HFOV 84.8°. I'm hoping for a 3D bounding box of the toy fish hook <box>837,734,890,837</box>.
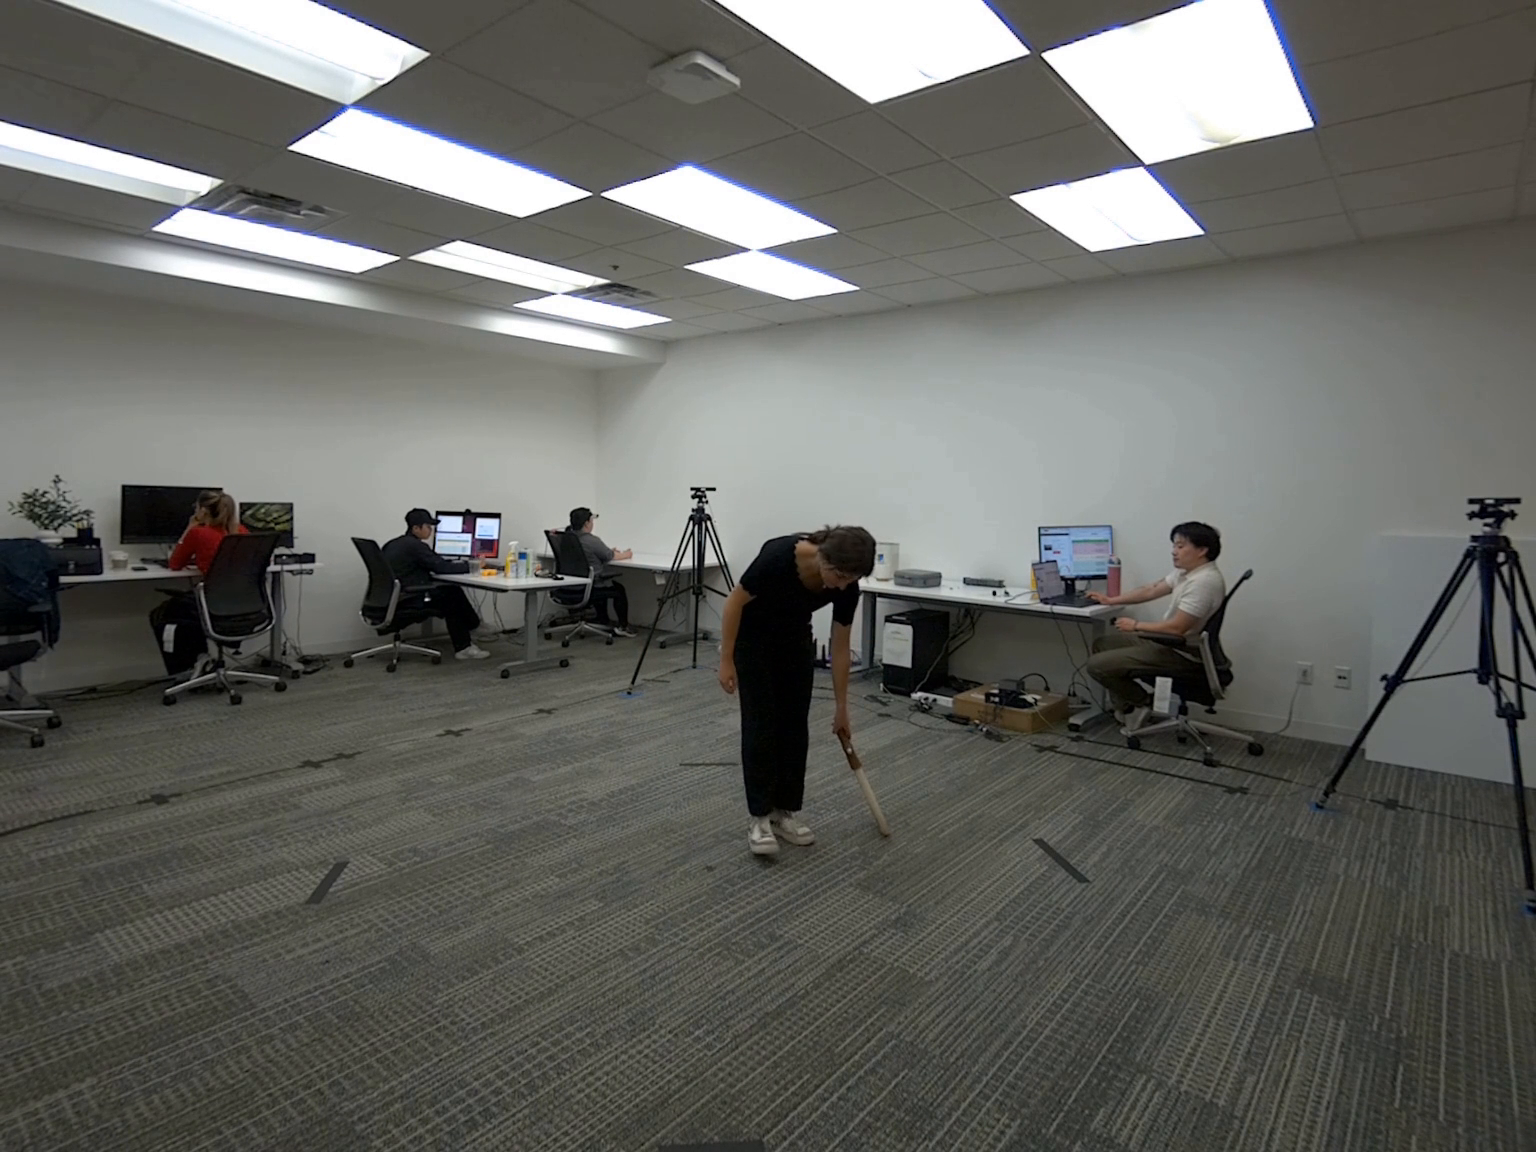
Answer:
[{"bbox_3d":[0.365,0.821,3.480,0.048,0.505,0.226,-25,3,-5],"label":"toy fish hook"}]
